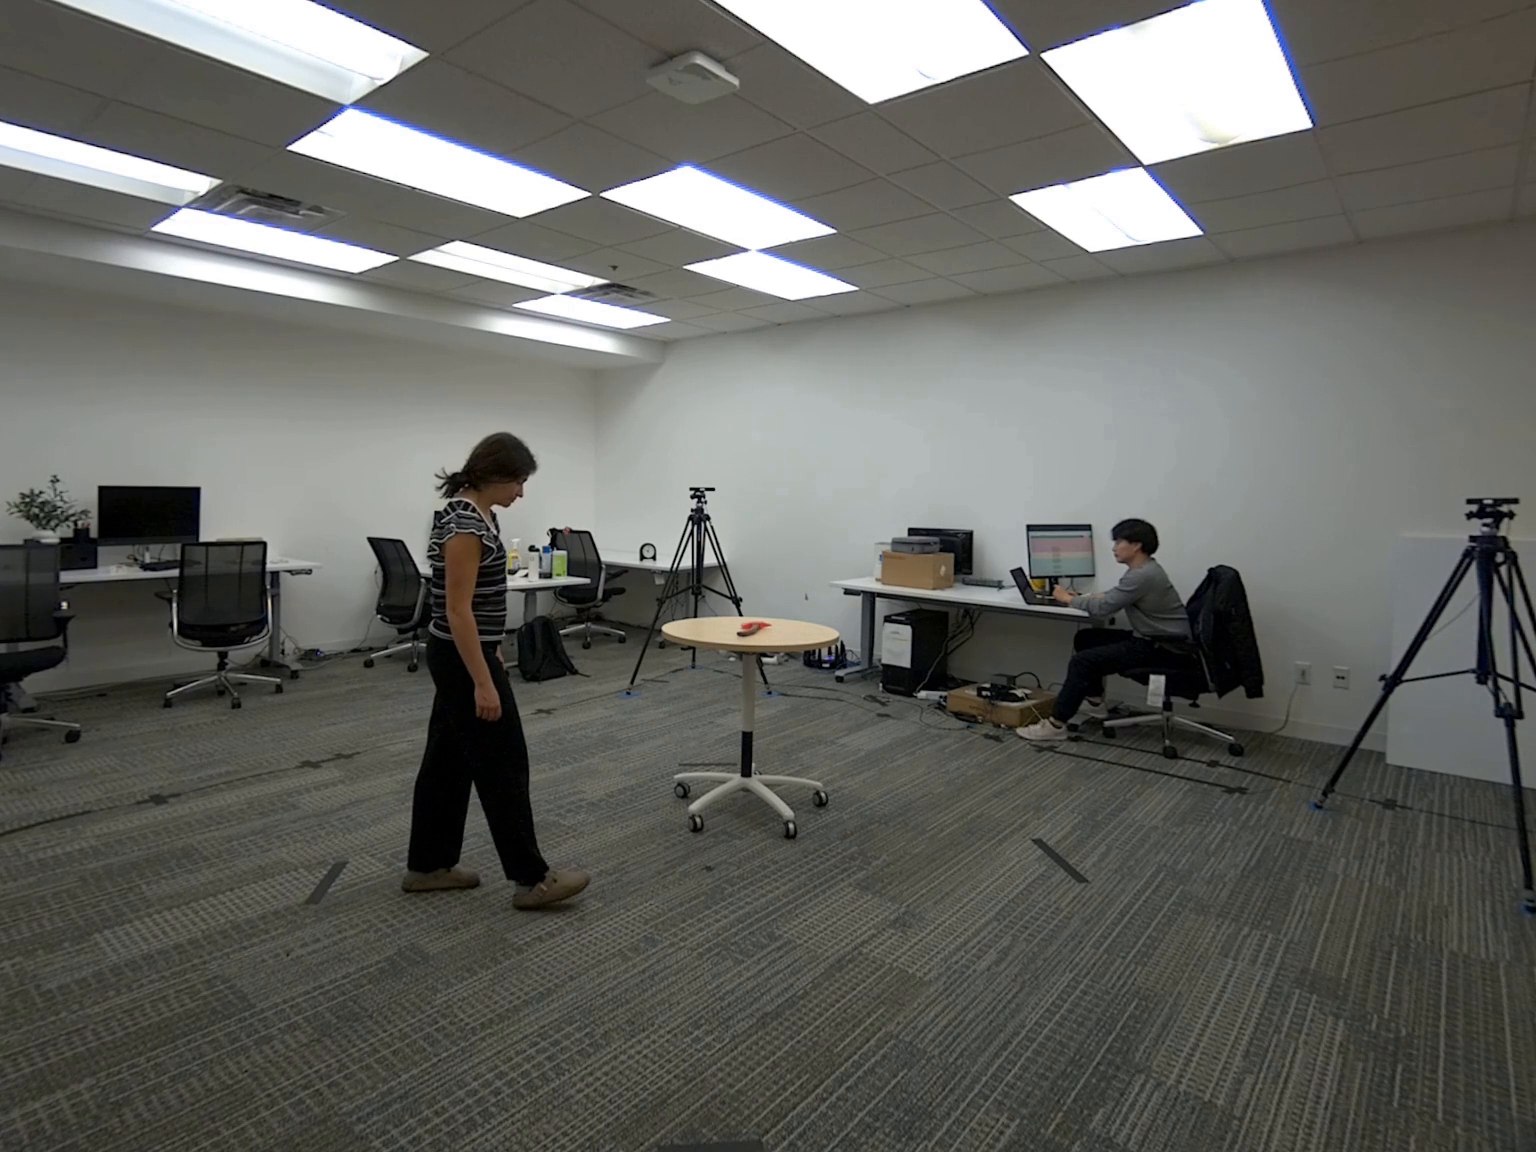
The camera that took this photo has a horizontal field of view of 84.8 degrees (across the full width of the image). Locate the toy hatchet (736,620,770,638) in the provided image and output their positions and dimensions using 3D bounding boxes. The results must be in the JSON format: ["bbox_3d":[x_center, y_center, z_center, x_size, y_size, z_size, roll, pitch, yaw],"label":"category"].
[{"bbox_3d":[-0.103,0.219,3.623,0.134,0.029,0.264,3,7,25],"label":"toy hatchet"}]
